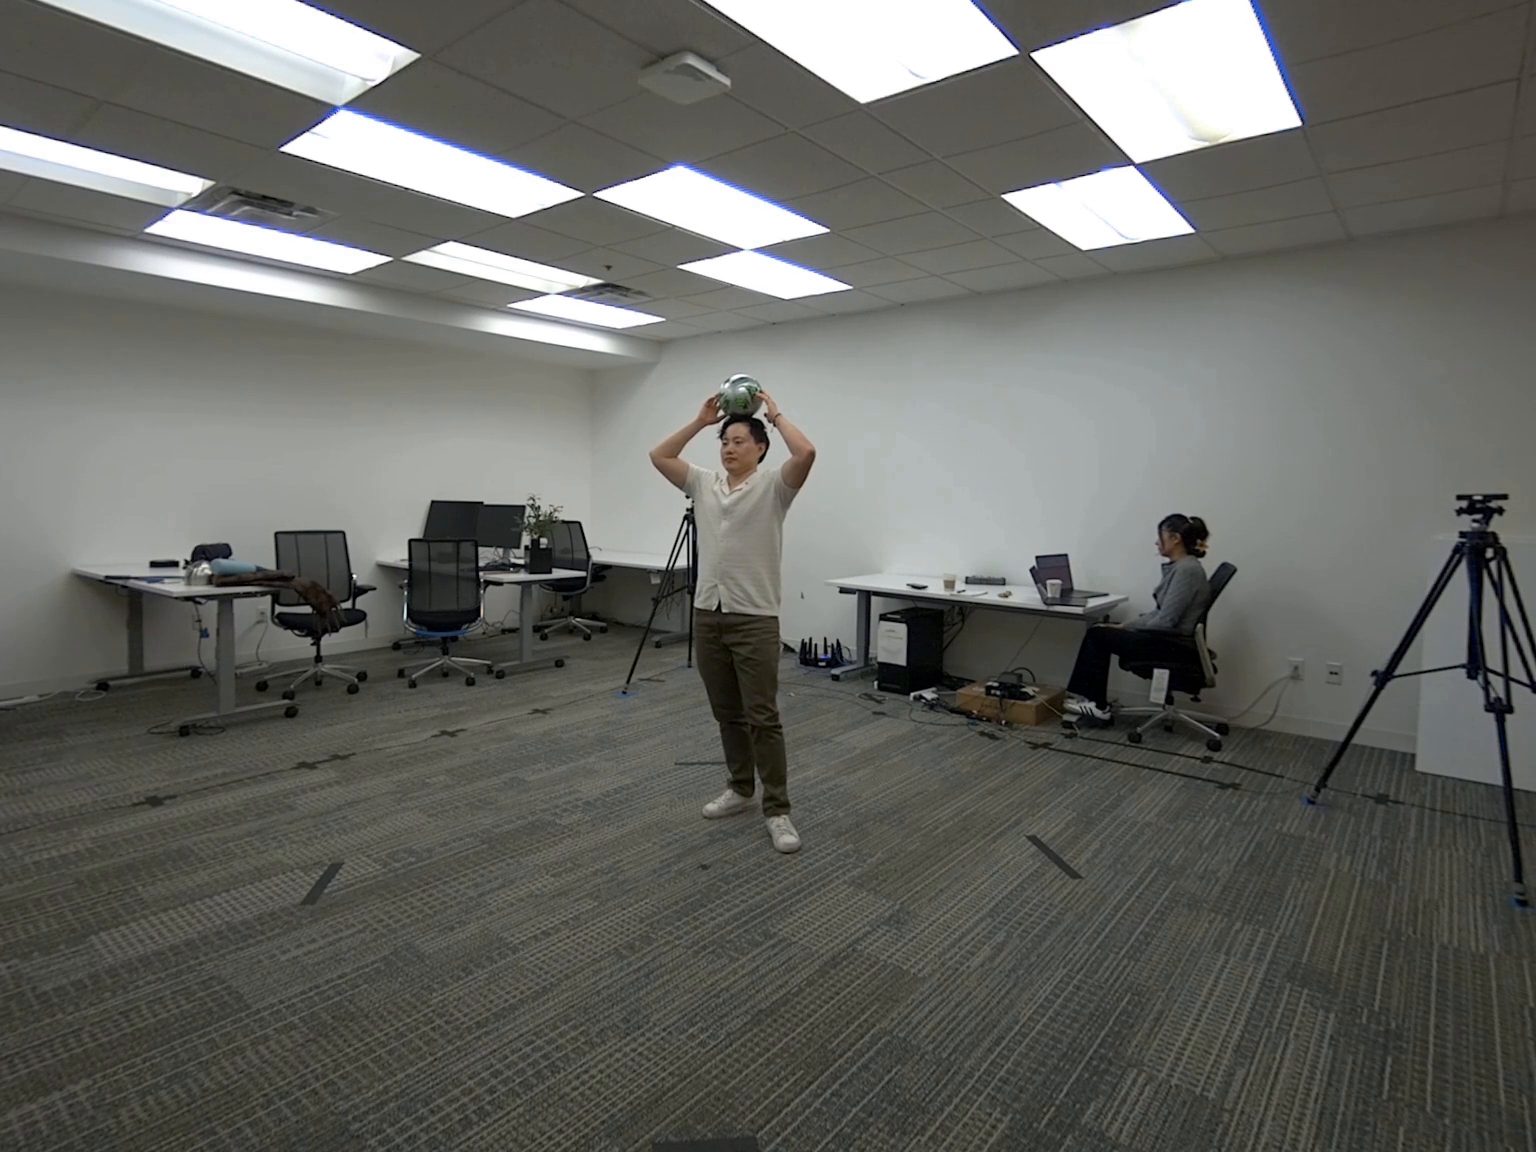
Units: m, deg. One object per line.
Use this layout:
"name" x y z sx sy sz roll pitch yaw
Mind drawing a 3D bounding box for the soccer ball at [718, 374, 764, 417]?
"soccer ball" -0.124 -0.751 3.562 0.187 0.187 0.188 1 4 -2
